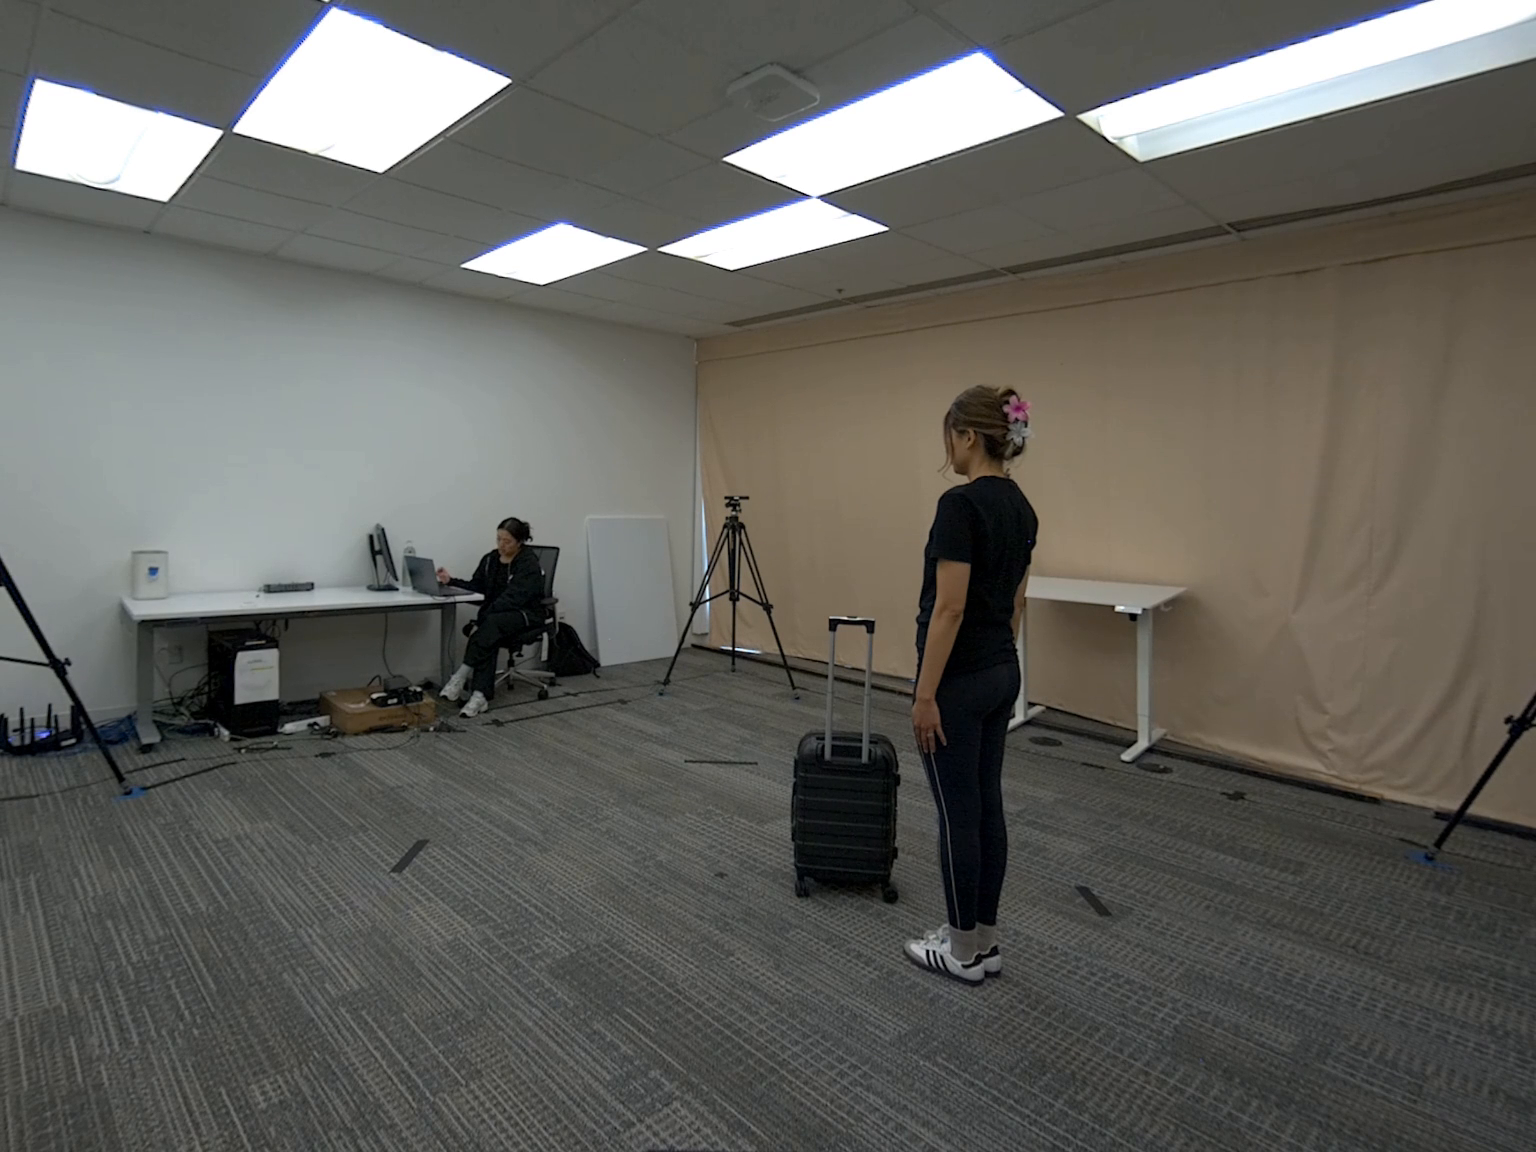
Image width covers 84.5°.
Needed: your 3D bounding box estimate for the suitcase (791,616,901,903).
[{"bbox_3d":[0.277,0.640,3.043,0.386,0.978,0.256,2,1,6],"label":"suitcase"}]
